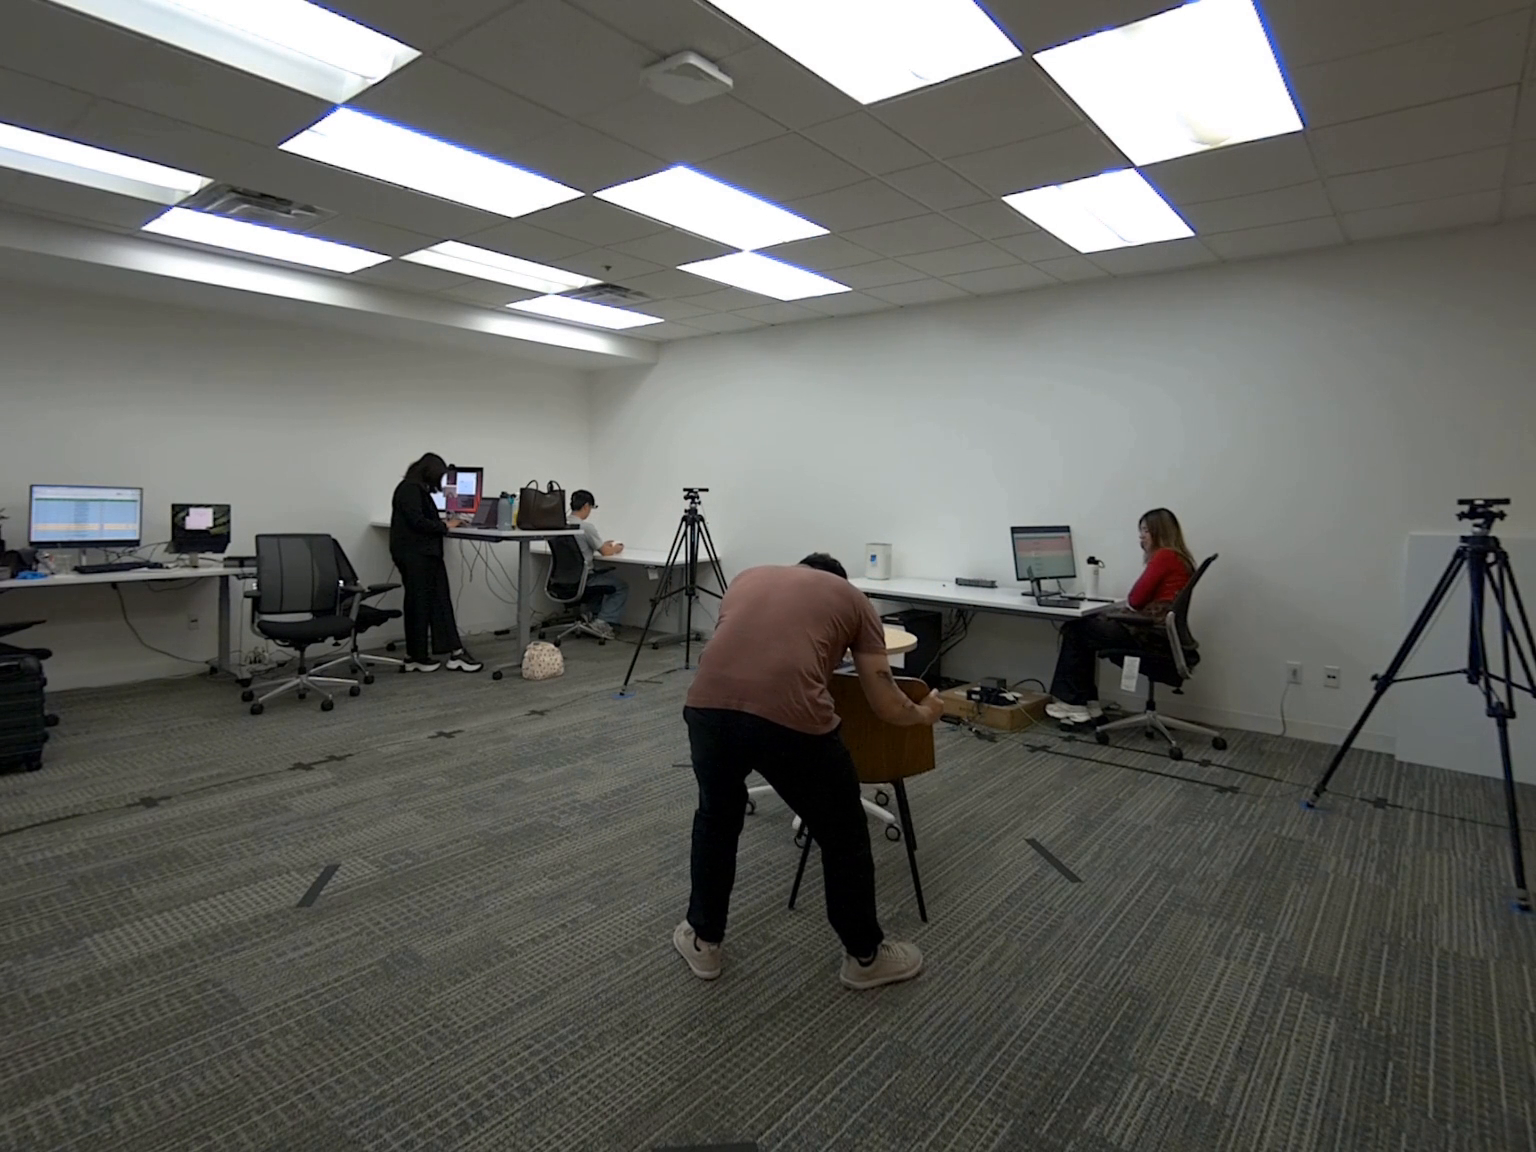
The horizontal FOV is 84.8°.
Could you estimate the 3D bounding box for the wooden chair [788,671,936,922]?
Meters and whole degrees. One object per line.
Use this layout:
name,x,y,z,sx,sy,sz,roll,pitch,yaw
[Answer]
wooden chair,0.302,0.644,2.945,0.482,0.865,0.526,2,15,6
